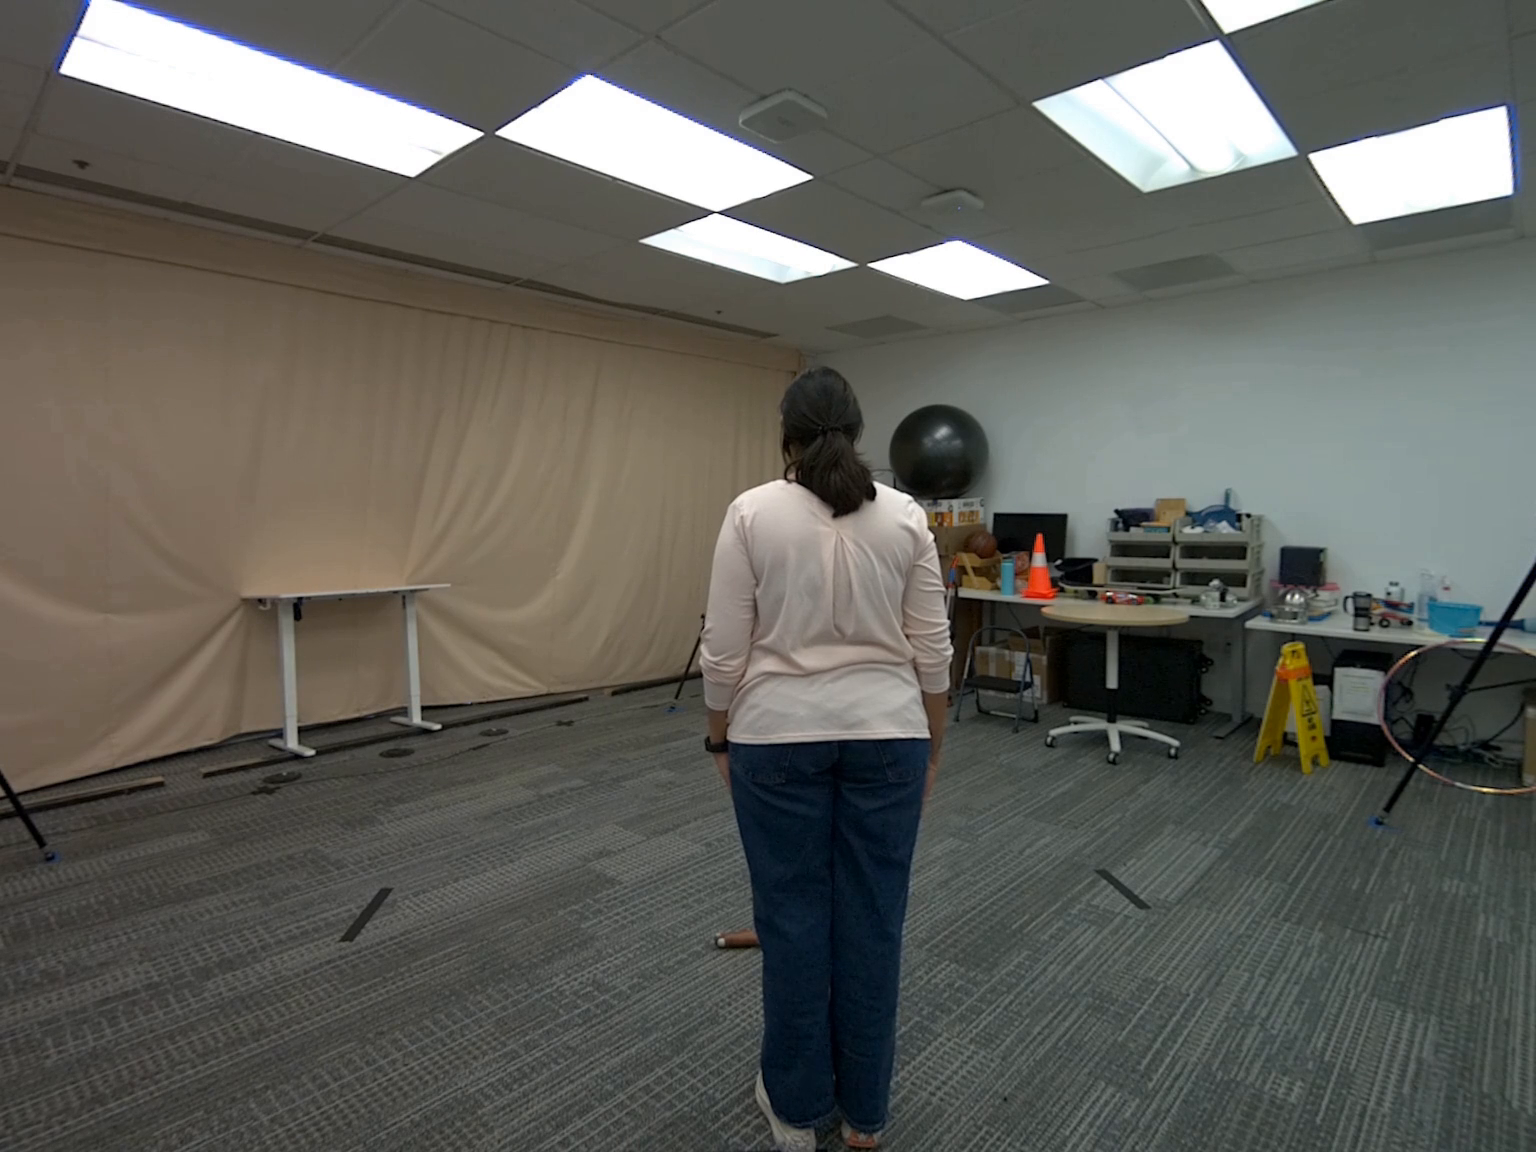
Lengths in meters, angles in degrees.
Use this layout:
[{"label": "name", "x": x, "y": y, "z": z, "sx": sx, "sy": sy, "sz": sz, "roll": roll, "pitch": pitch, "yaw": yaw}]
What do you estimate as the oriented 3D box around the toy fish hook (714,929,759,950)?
[{"label": "toy fish hook", "x": 0.092, "y": 1.150, "z": 2.635, "sx": 0.501, "sy": 0.048, "sz": 0.227, "roll": -1, "pitch": 4, "yaw": -10}]
